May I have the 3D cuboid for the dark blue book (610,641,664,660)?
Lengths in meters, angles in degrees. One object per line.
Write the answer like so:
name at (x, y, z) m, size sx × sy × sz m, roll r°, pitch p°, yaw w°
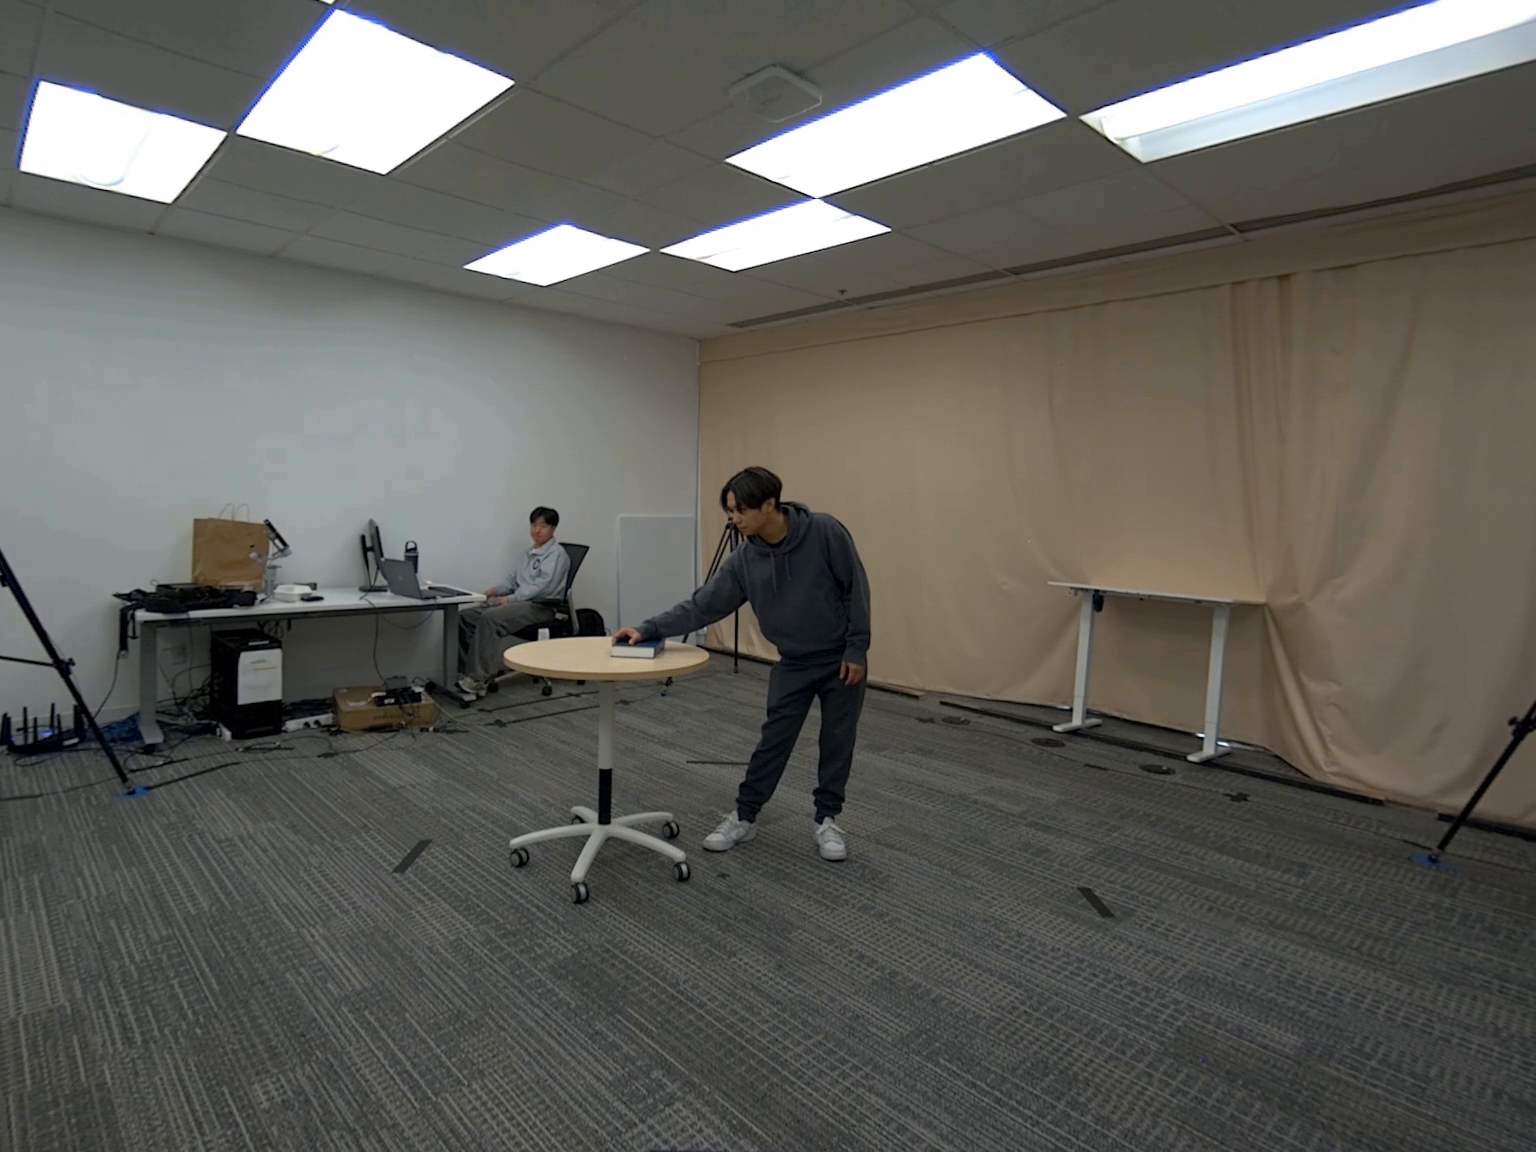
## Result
dark blue book at (-0.501, 0.273, 3.214) m, size 0.164 × 0.045 × 0.245 m, roll 4°, pitch 4°, yaw 2°
